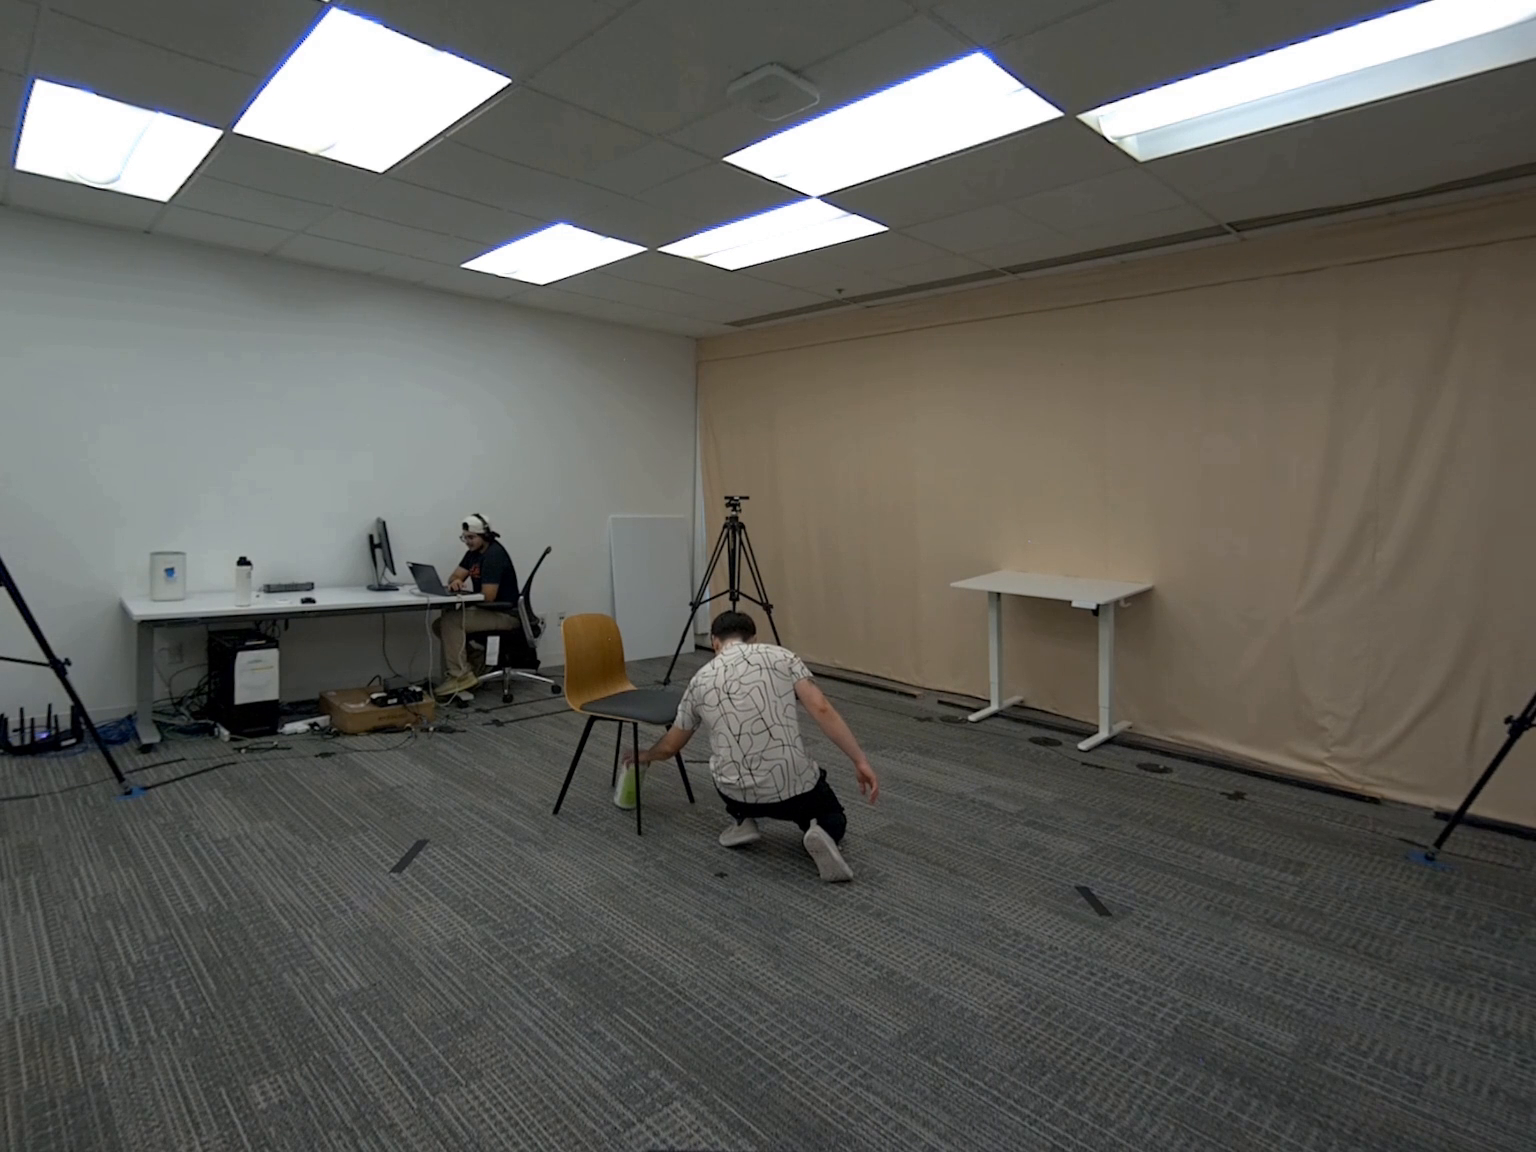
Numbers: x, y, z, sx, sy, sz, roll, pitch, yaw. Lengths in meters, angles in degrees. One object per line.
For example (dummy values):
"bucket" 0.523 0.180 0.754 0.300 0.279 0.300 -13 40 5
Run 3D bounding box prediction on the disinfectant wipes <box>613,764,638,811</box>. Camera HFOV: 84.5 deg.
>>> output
"disinfectant wipes" -0.625 0.914 3.751 0.117 0.216 0.119 11 9 -3
